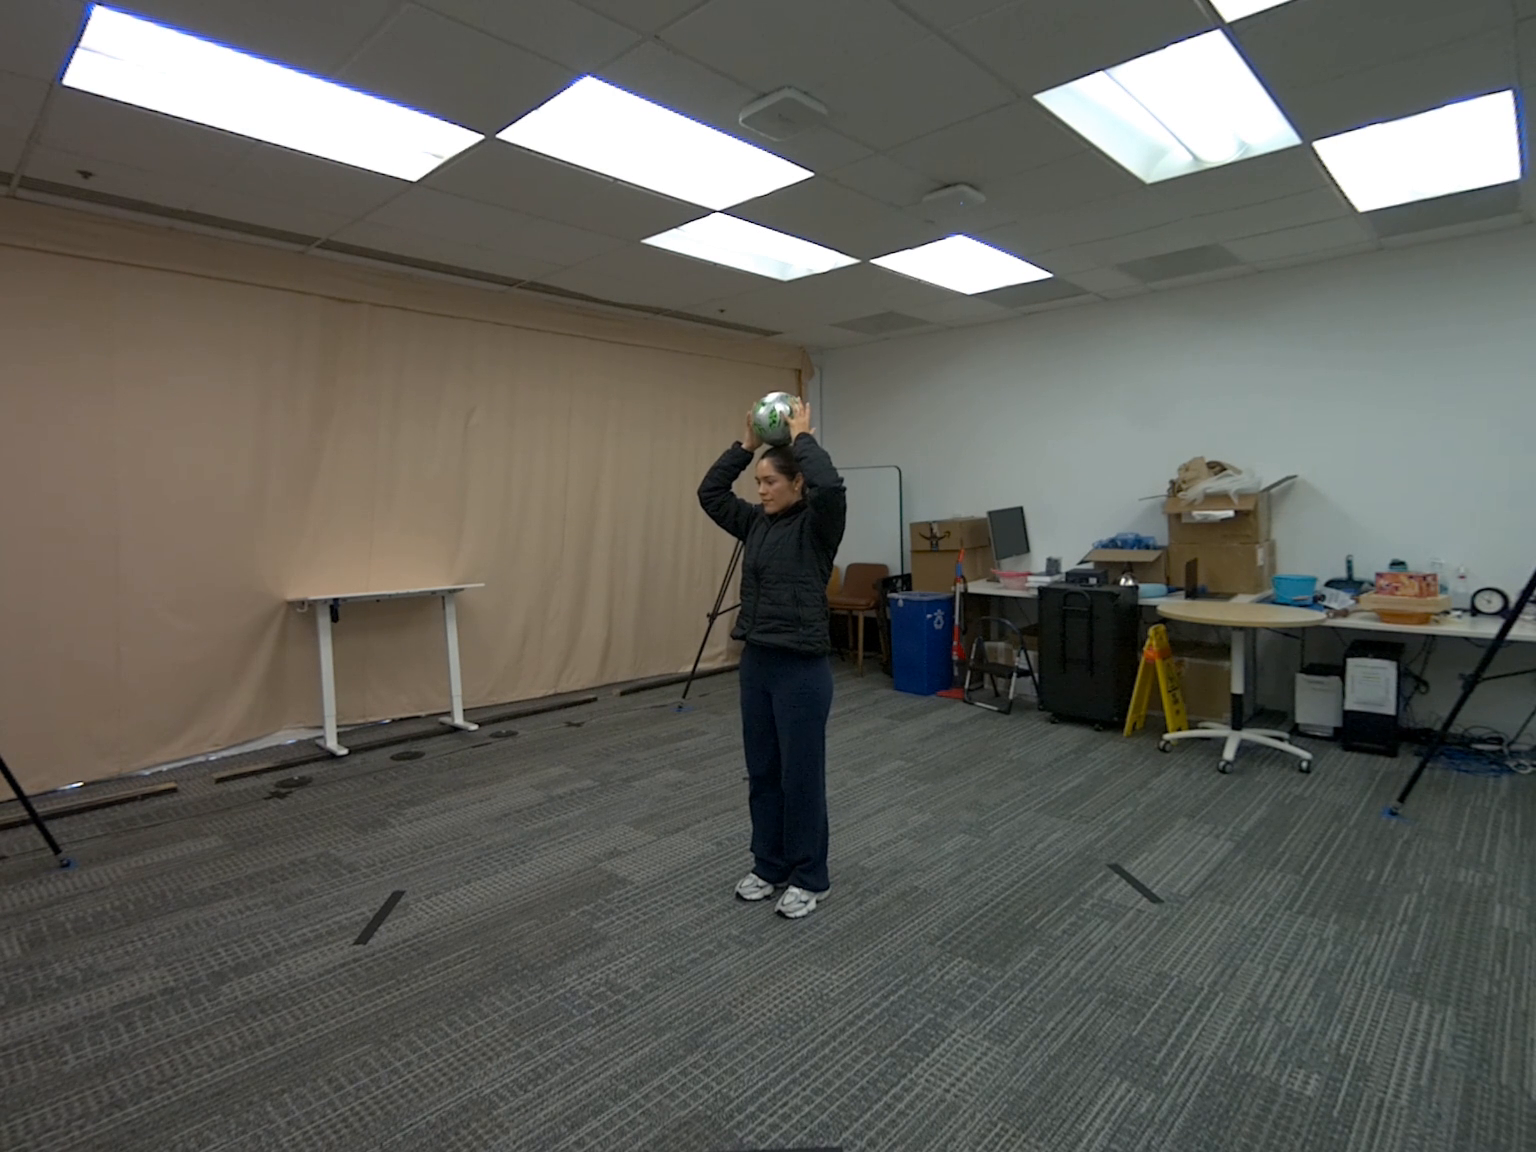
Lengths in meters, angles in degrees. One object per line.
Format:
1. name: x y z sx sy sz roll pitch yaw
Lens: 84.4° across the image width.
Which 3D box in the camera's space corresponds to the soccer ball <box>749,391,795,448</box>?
1. soccer ball: 0.035 -0.541 2.922 0.187 0.187 0.188 -1 4 -2
